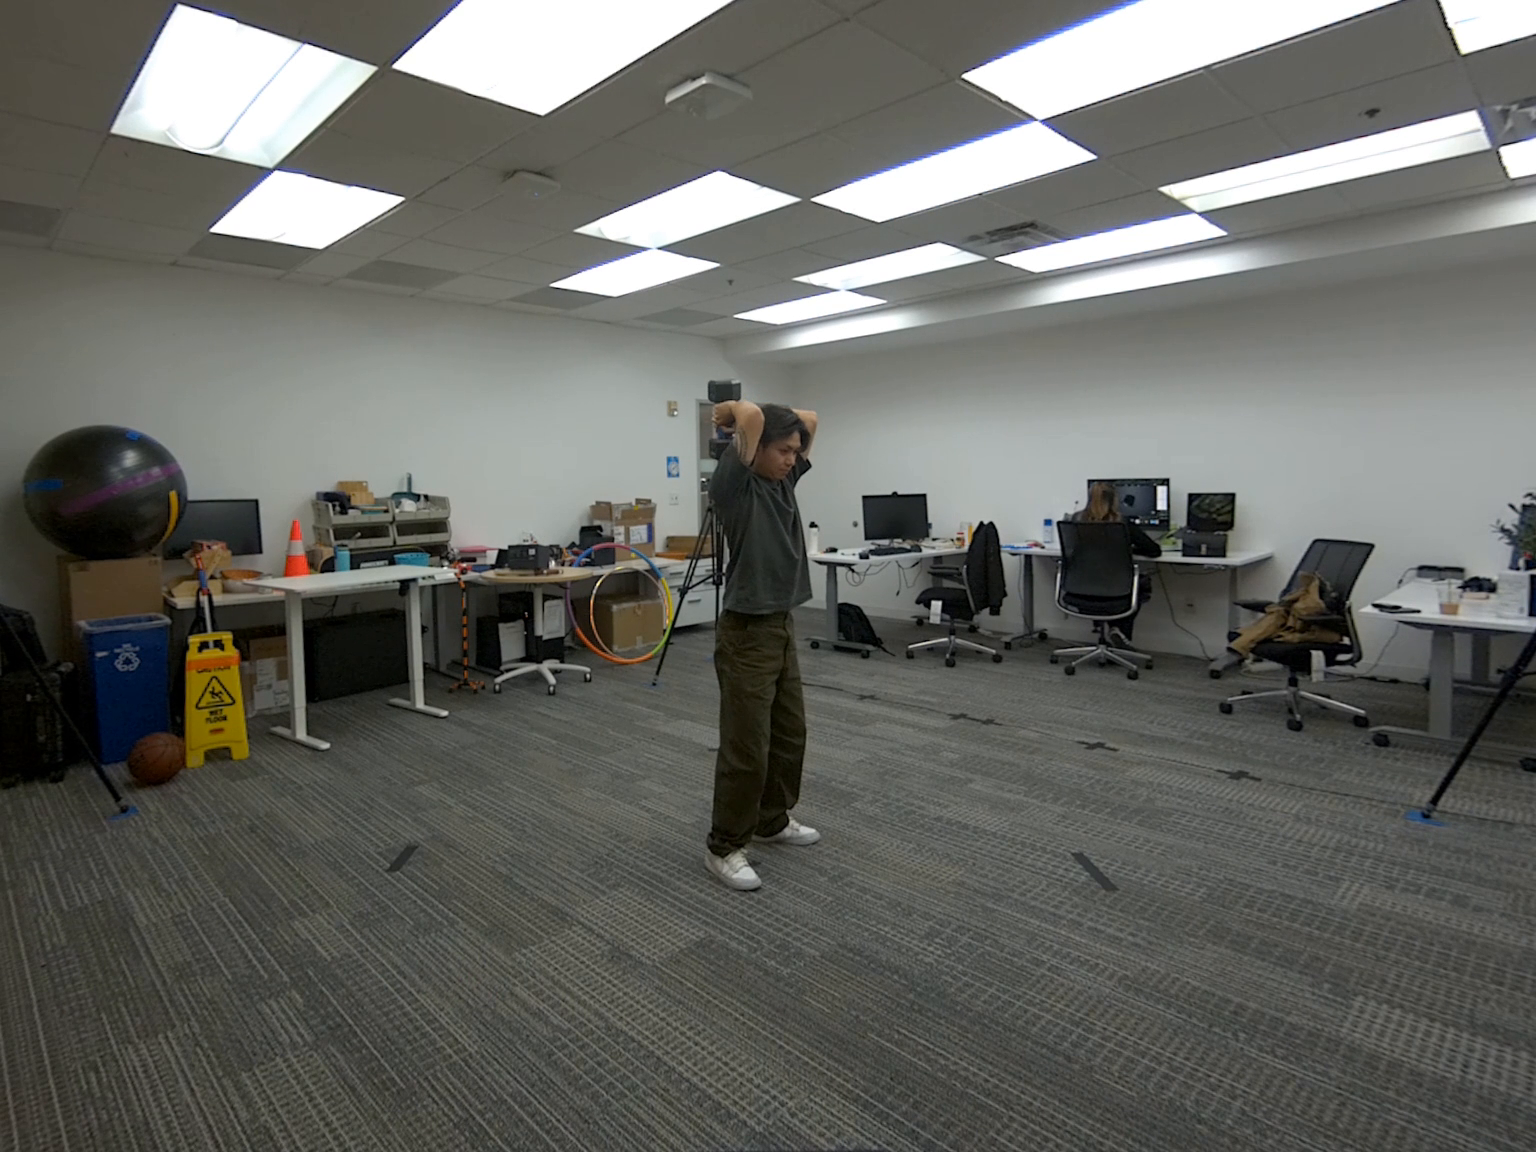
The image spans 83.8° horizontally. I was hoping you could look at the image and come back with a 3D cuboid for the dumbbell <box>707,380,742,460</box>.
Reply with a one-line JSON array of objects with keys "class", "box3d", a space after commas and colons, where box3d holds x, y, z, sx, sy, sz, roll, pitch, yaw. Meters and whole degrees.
[{"class": "dumbbell", "box3d": [-0.151, -0.586, 3.154, 0.107, 0.289, 0.127, -9, 19, -26]}]
